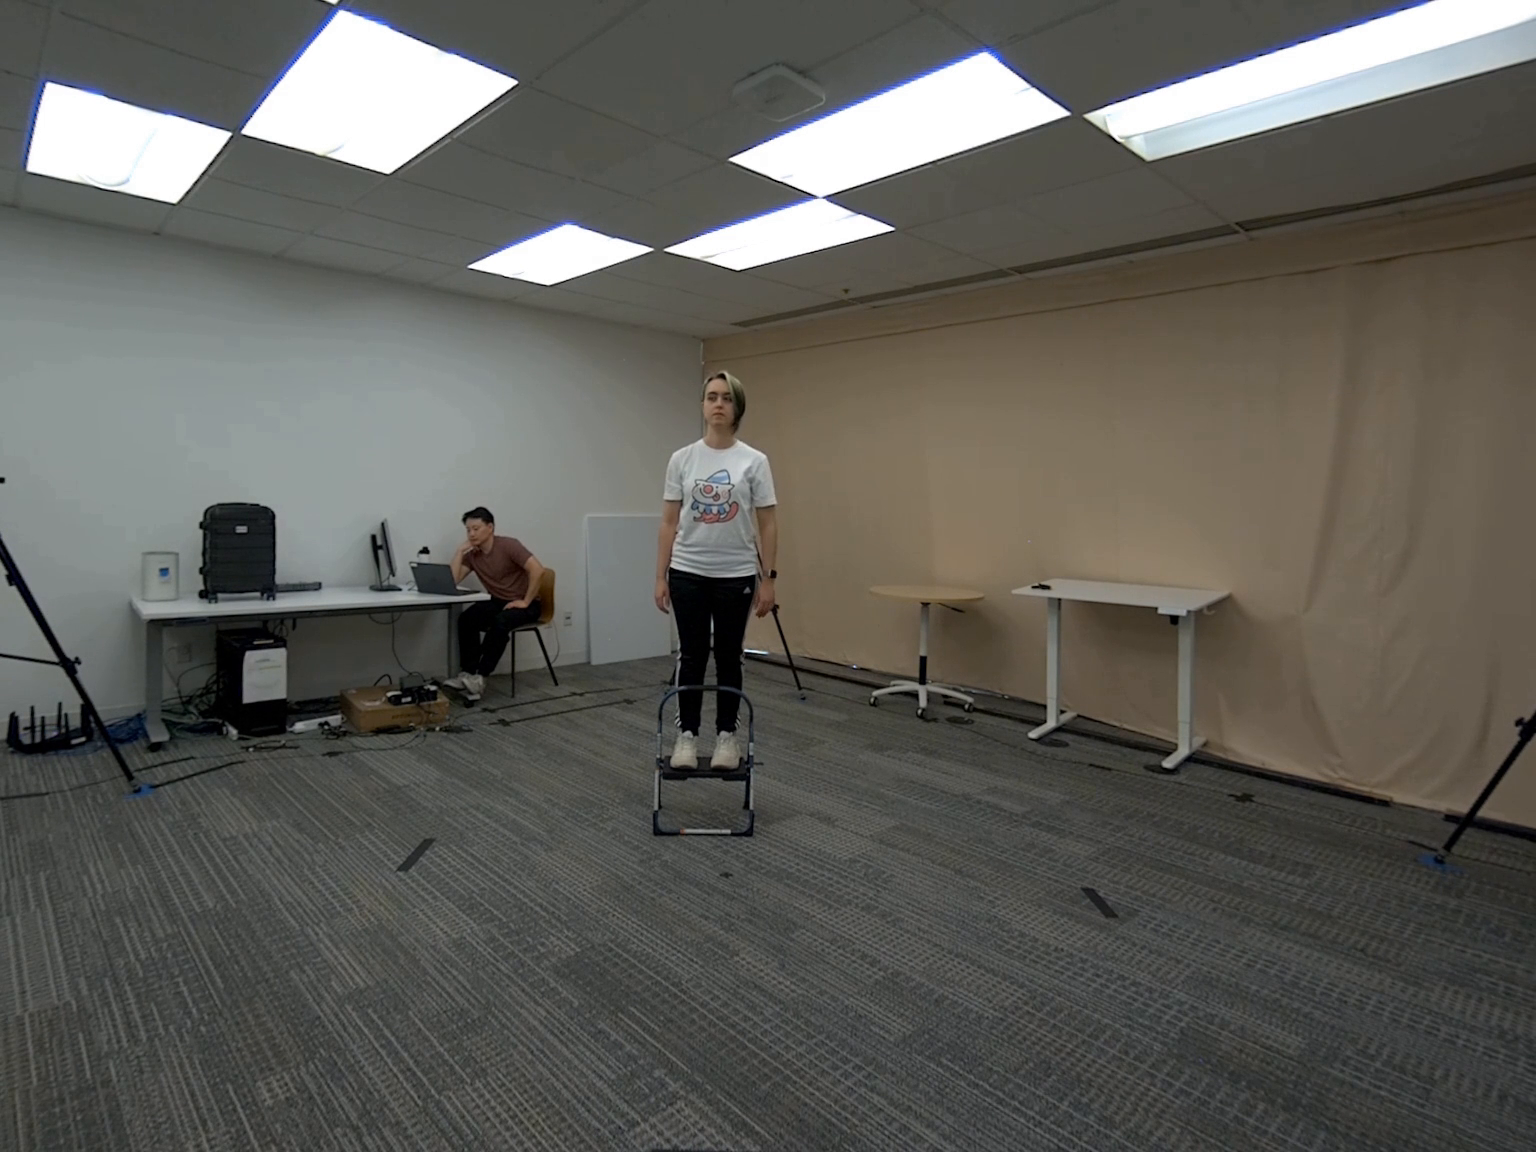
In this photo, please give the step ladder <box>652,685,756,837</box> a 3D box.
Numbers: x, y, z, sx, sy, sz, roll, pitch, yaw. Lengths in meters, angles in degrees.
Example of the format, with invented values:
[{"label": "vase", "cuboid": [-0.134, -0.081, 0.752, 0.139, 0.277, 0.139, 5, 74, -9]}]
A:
[{"label": "step ladder", "cuboid": [-0.282, 0.758, 3.613, 0.429, 0.605, 0.351, 1, 2, -4]}]
